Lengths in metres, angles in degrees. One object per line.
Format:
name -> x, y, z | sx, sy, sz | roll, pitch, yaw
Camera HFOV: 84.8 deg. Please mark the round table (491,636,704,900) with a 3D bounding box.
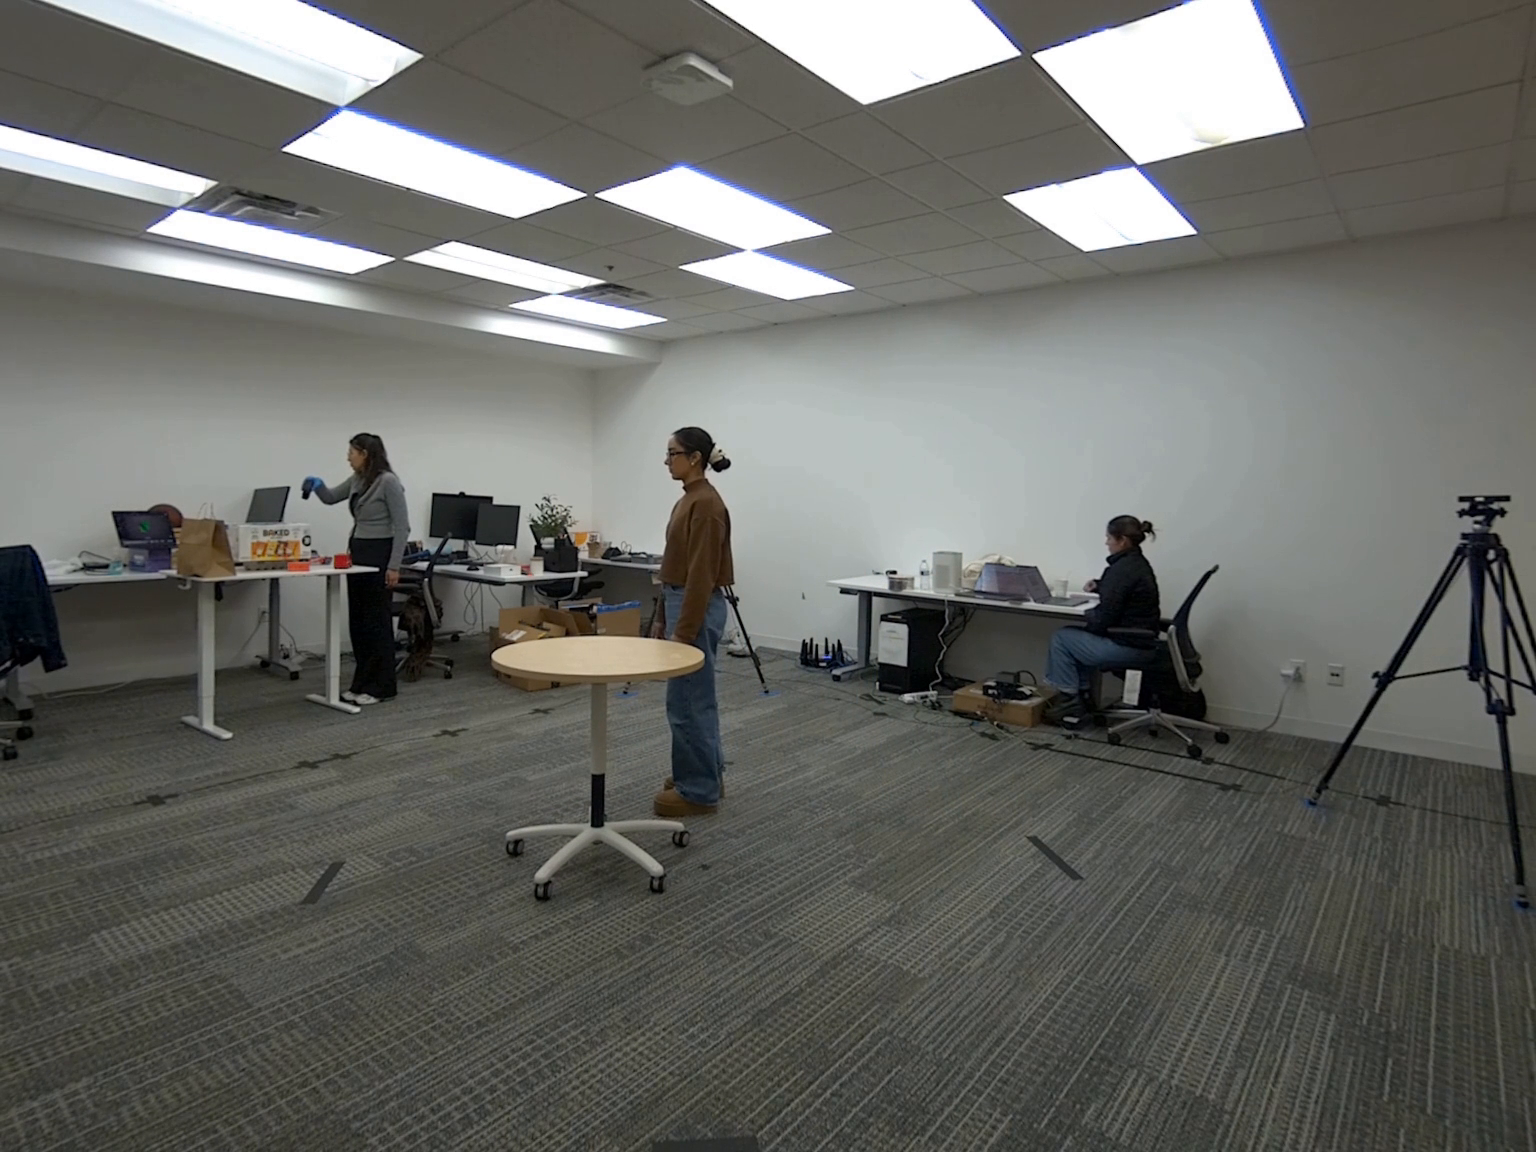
round table -> -0.639, 0.671, 3.127 | 0.763, 0.792, 0.767 | 1, 4, -2
